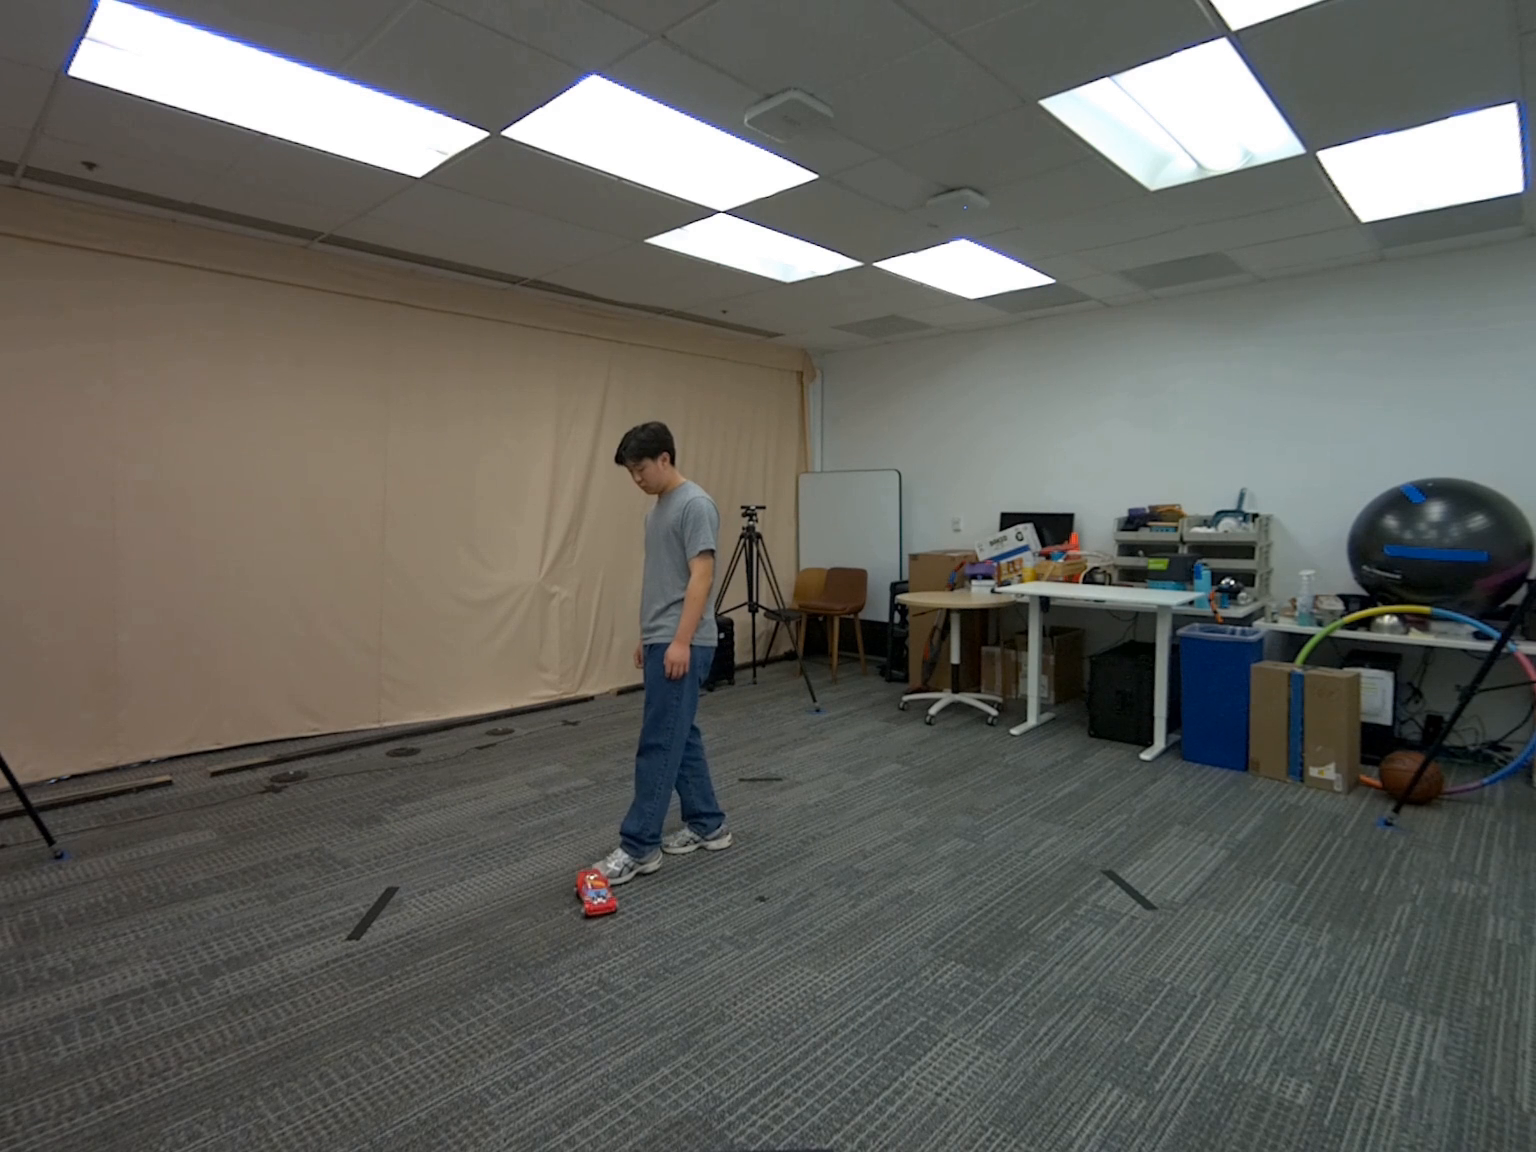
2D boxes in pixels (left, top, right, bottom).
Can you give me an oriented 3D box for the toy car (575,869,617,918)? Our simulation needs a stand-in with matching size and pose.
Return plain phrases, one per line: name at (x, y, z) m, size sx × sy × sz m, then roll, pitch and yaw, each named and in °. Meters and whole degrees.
toy car at (-0.606, 1.113, 2.959) m, size 0.128 × 0.082 × 0.262 m, roll -3°, pitch 19°, yaw -20°
